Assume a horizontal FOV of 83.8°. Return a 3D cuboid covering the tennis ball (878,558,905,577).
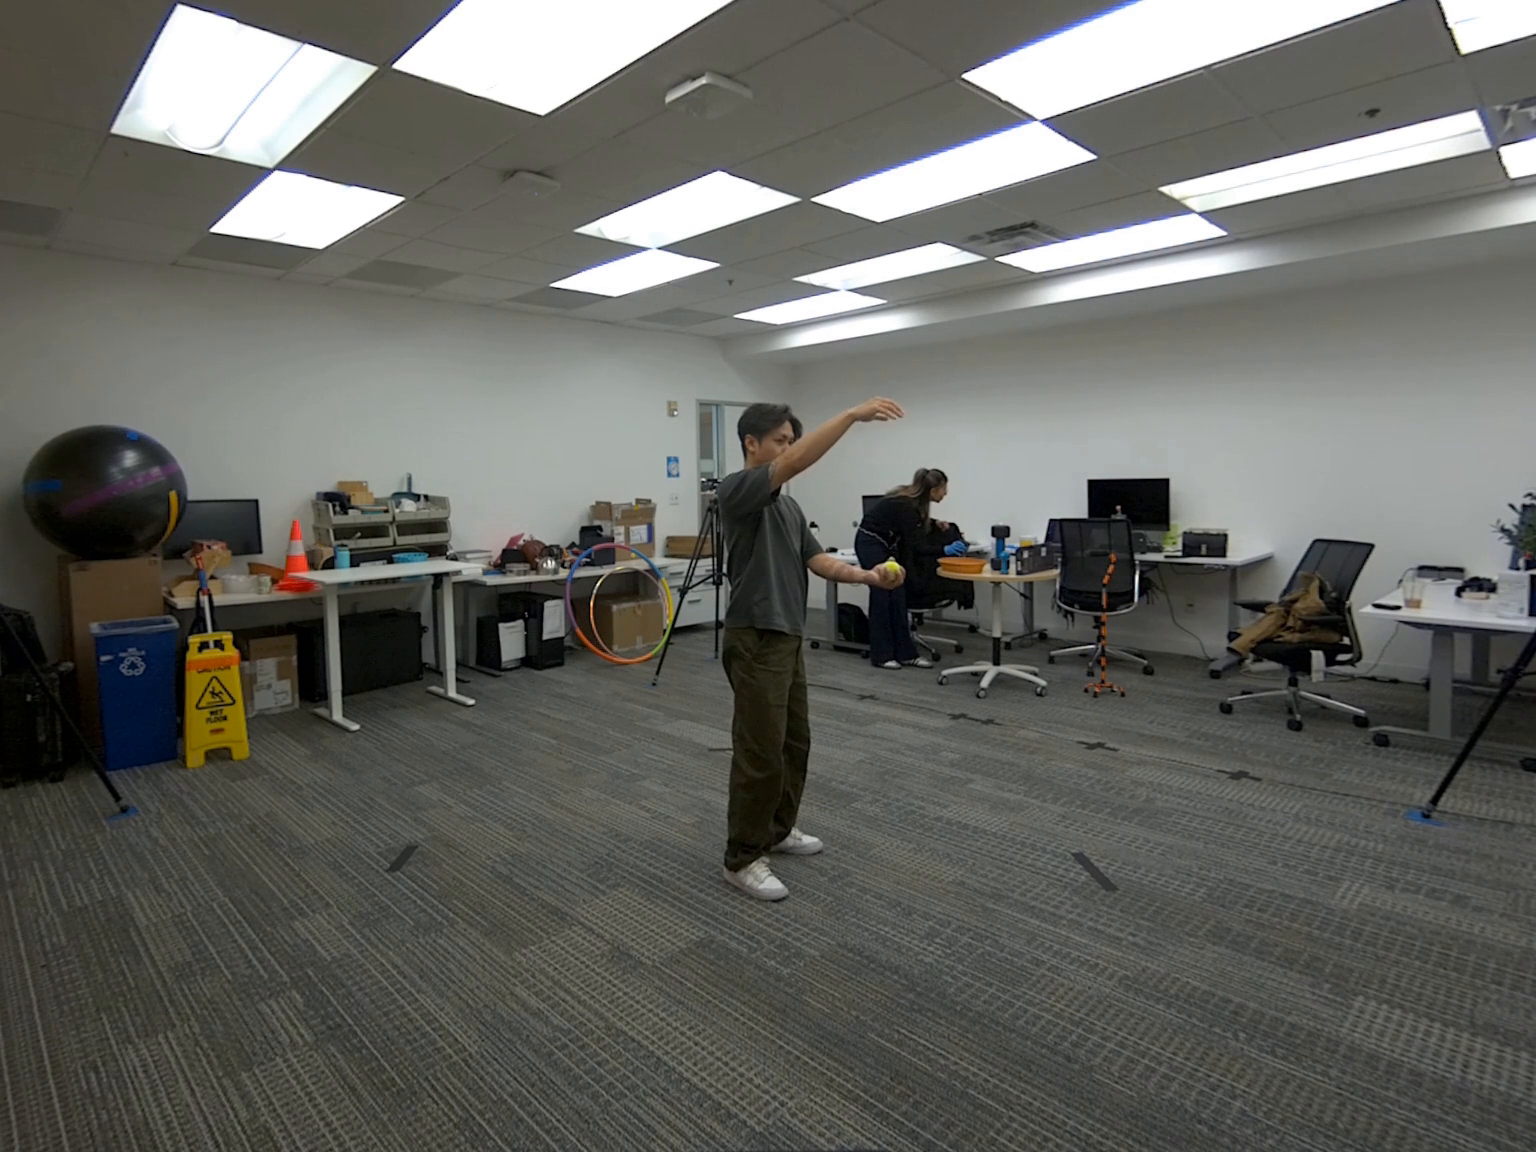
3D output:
[{"bbox_3d":[0.397,-0.021,2.843,0.066,0.066,0.067,-1,5,-2],"label":"tennis ball"}]
